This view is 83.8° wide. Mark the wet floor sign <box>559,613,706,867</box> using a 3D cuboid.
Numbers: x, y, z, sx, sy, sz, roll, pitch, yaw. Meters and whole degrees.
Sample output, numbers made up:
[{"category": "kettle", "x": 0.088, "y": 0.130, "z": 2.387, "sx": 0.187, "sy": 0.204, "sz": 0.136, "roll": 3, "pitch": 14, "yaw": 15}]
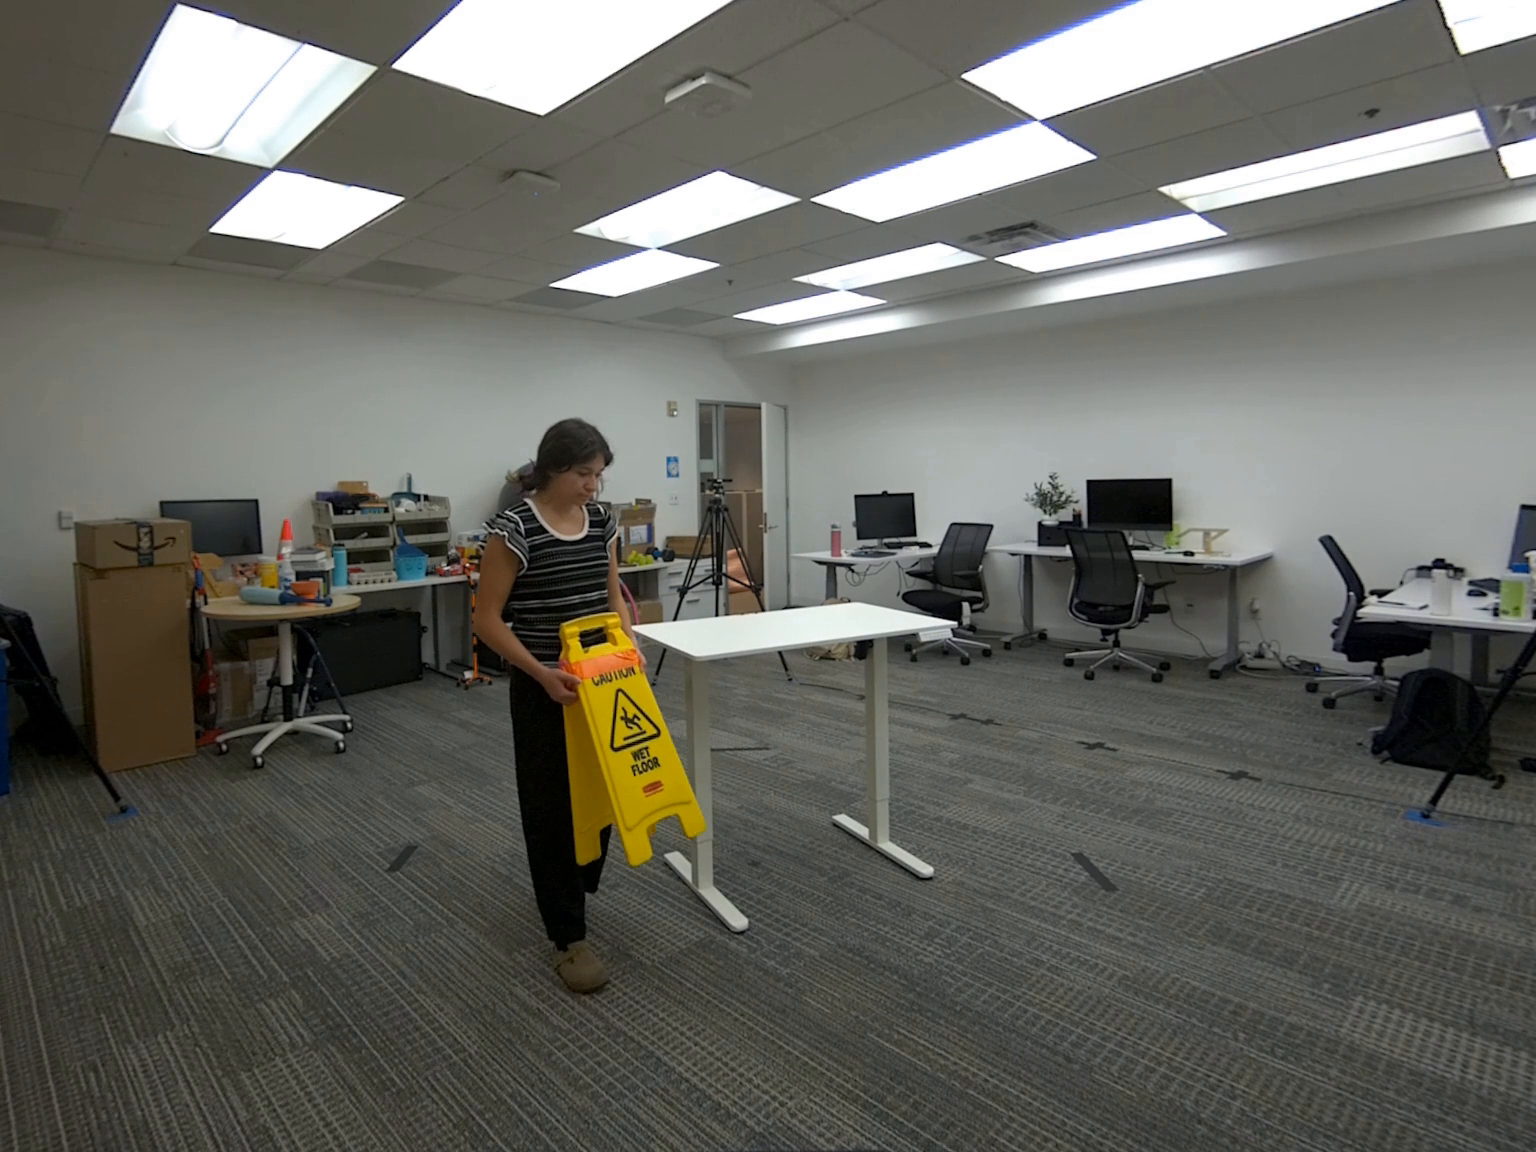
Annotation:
[{"category": "wet floor sign", "x": -0.425, "y": 0.432, "z": 2.380, "sx": 0.295, "sy": 0.650, "sz": 0.275, "roll": -19, "pitch": -8, "yaw": 43}]
